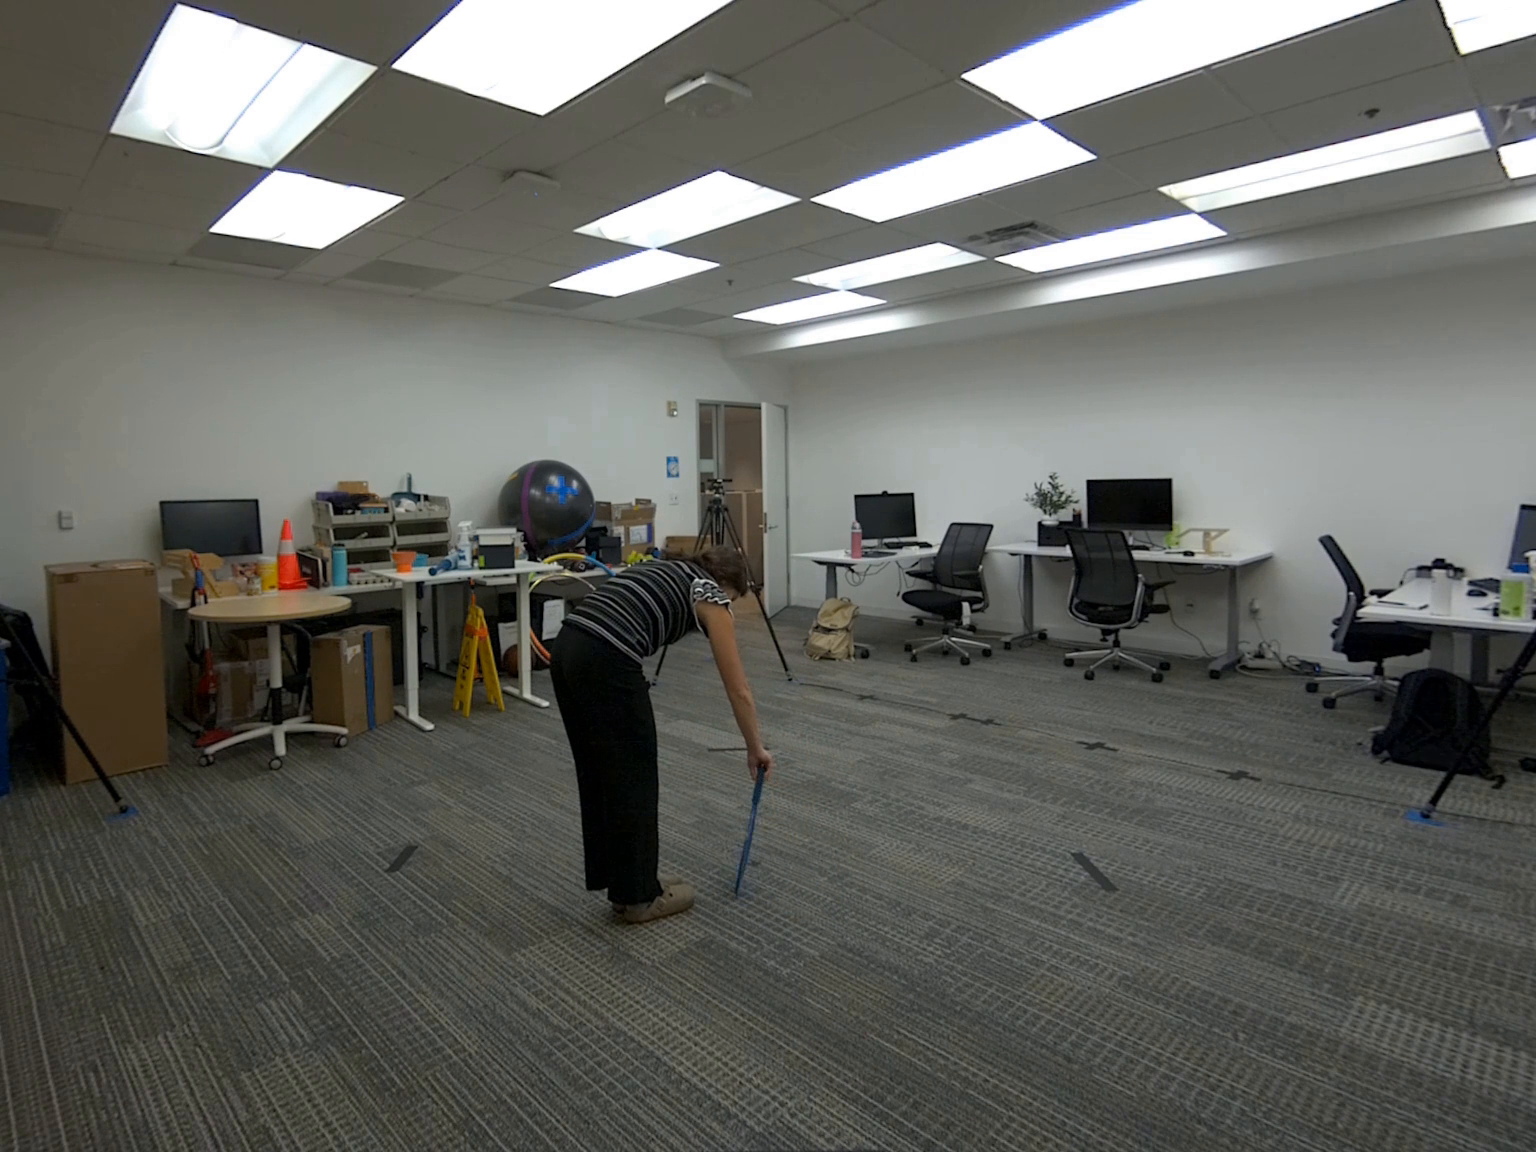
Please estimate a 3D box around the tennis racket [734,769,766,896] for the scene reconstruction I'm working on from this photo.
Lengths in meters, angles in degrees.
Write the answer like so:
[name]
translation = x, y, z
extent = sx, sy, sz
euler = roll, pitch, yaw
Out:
[tennis racket]
translation = -0.064, 0.858, 2.887
extent = 0.032, 0.434, 0.211
euler = 11, -3, 8
